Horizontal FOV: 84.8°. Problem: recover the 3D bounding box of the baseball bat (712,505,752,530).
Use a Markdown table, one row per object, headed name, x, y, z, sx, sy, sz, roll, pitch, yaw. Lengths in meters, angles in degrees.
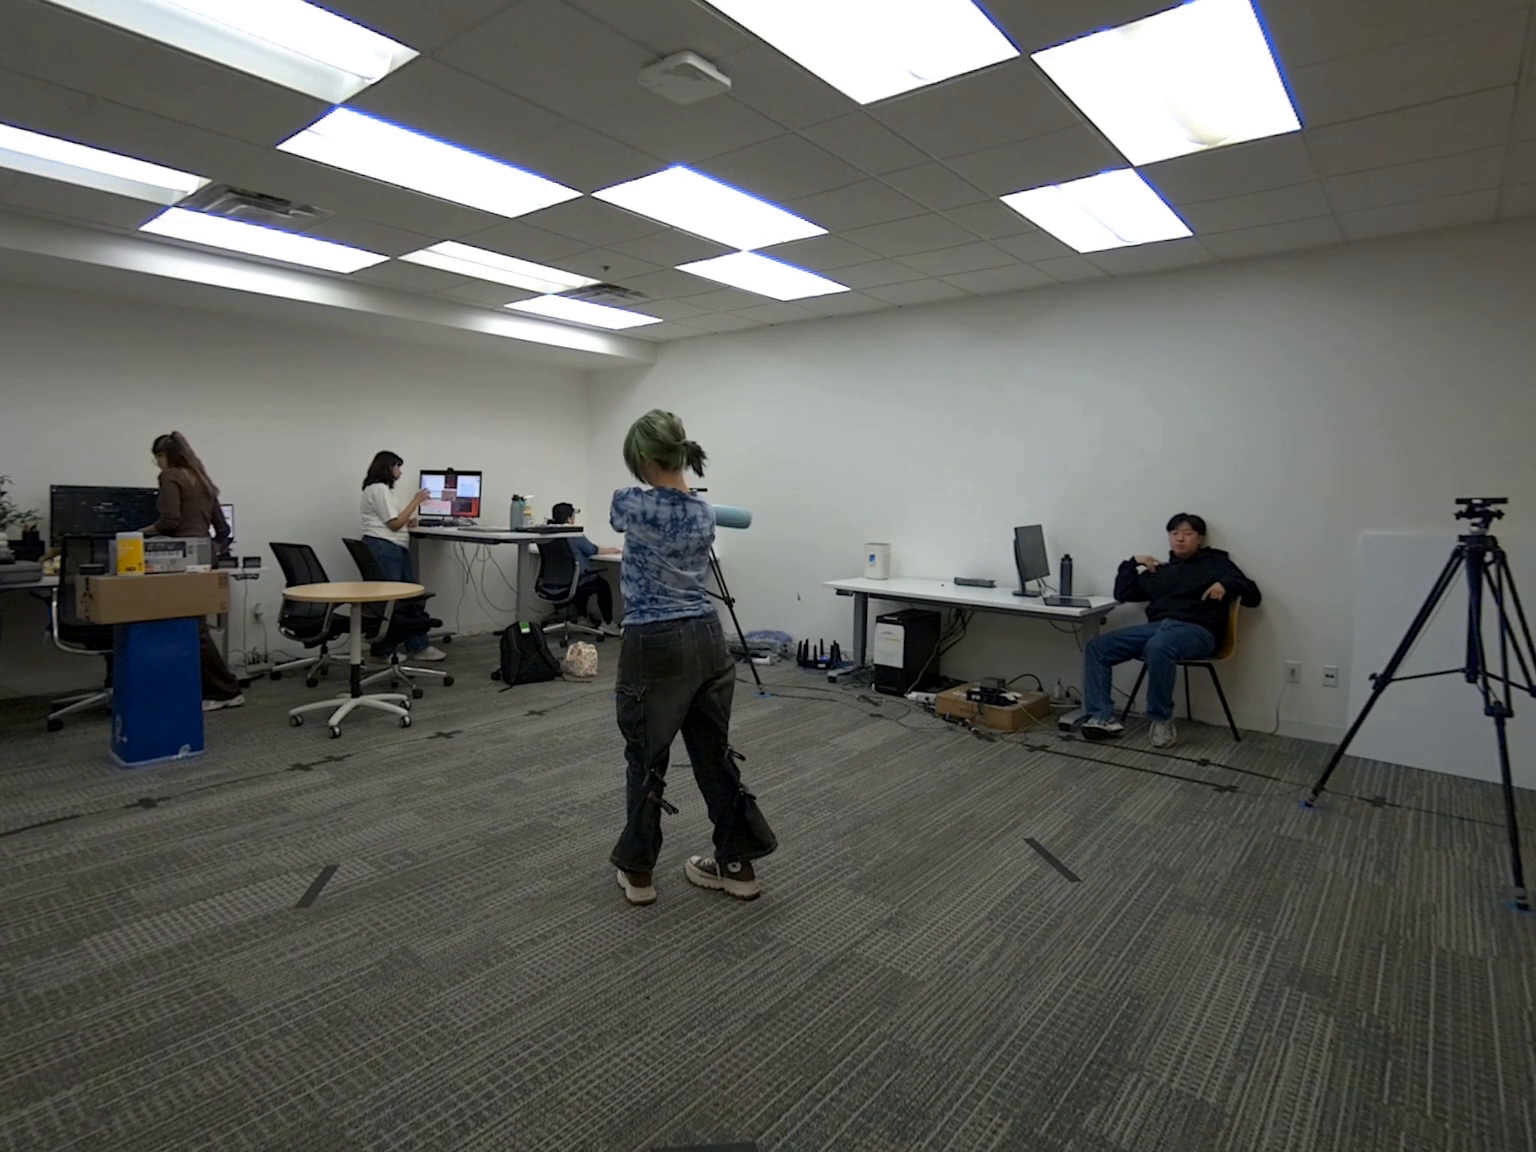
| name | x | y | z | sx | sy | sz | roll | pitch | yaw |
| --- | --- | --- | --- | --- | --- | --- | --- | --- | --- |
| baseball bat | -0.336 | -0.261 | 3.474 | 0.528 | 0.089 | 0.091 | 5 | 2 | -26 |
